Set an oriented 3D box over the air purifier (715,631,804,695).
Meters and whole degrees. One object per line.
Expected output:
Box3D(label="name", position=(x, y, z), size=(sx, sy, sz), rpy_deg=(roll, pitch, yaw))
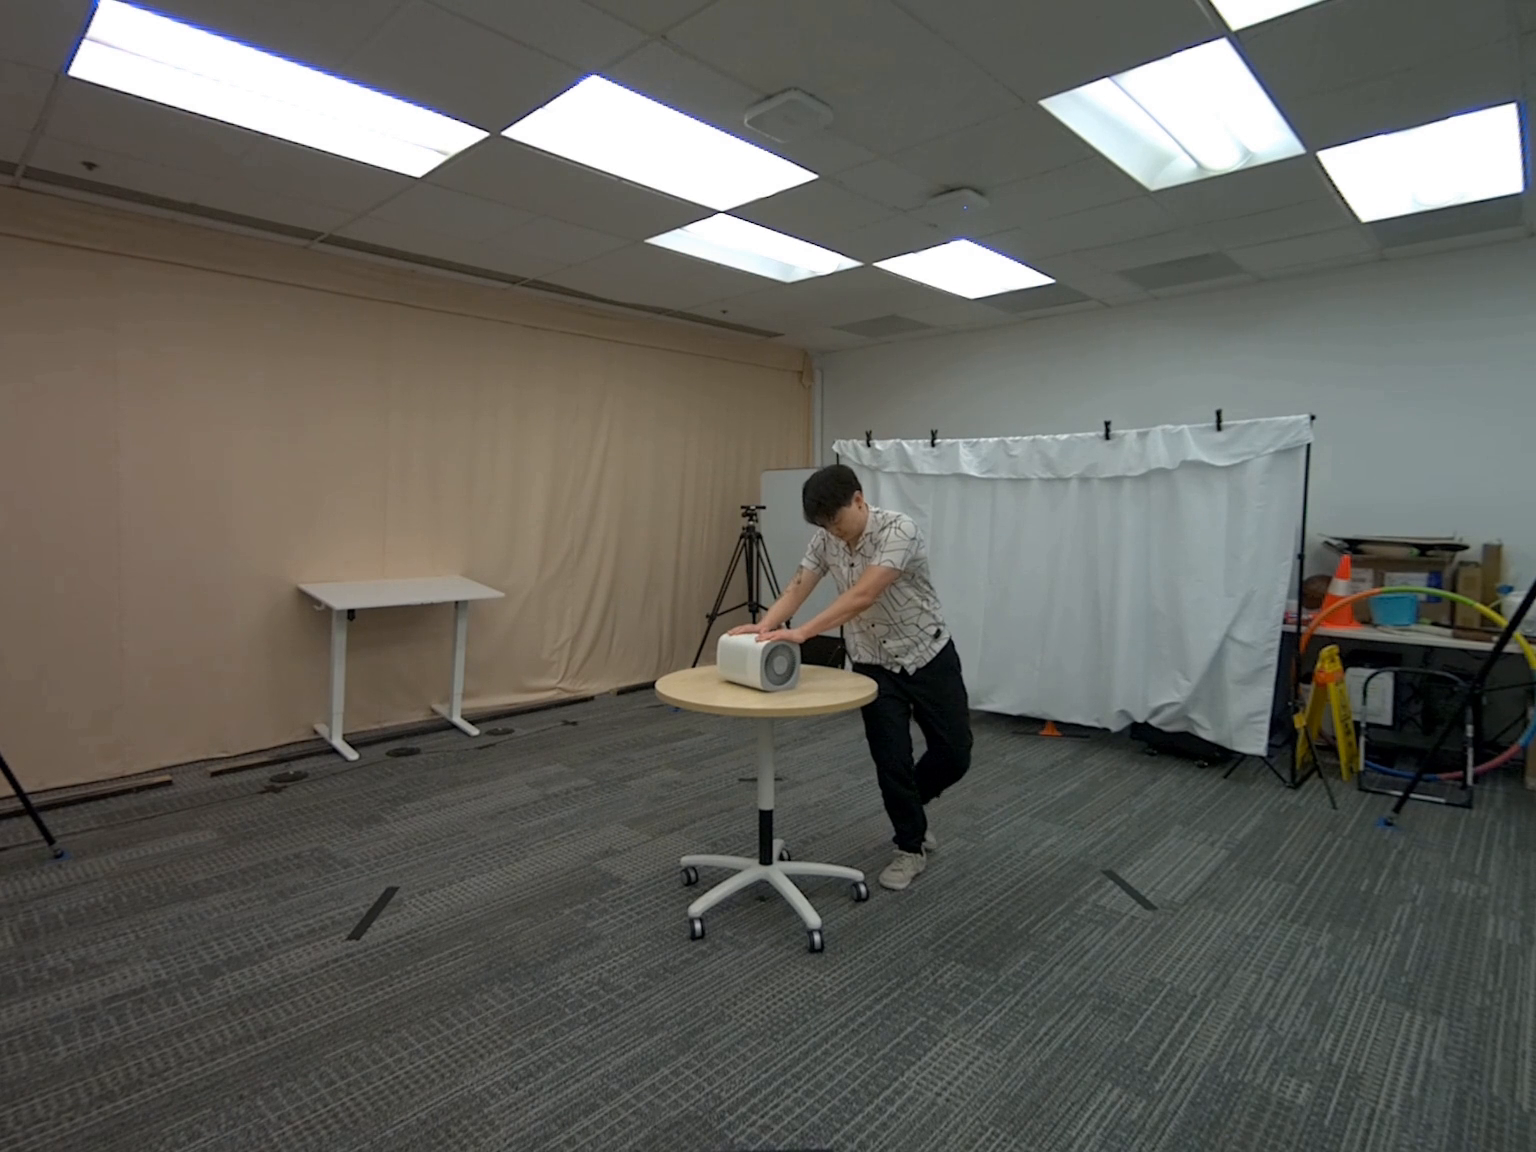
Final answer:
Box3D(label="air purifier", position=(-0.035, 0.287, 2.888), size=(0.166, 0.171, 0.274), rpy_deg=(-1, 3, -37))
